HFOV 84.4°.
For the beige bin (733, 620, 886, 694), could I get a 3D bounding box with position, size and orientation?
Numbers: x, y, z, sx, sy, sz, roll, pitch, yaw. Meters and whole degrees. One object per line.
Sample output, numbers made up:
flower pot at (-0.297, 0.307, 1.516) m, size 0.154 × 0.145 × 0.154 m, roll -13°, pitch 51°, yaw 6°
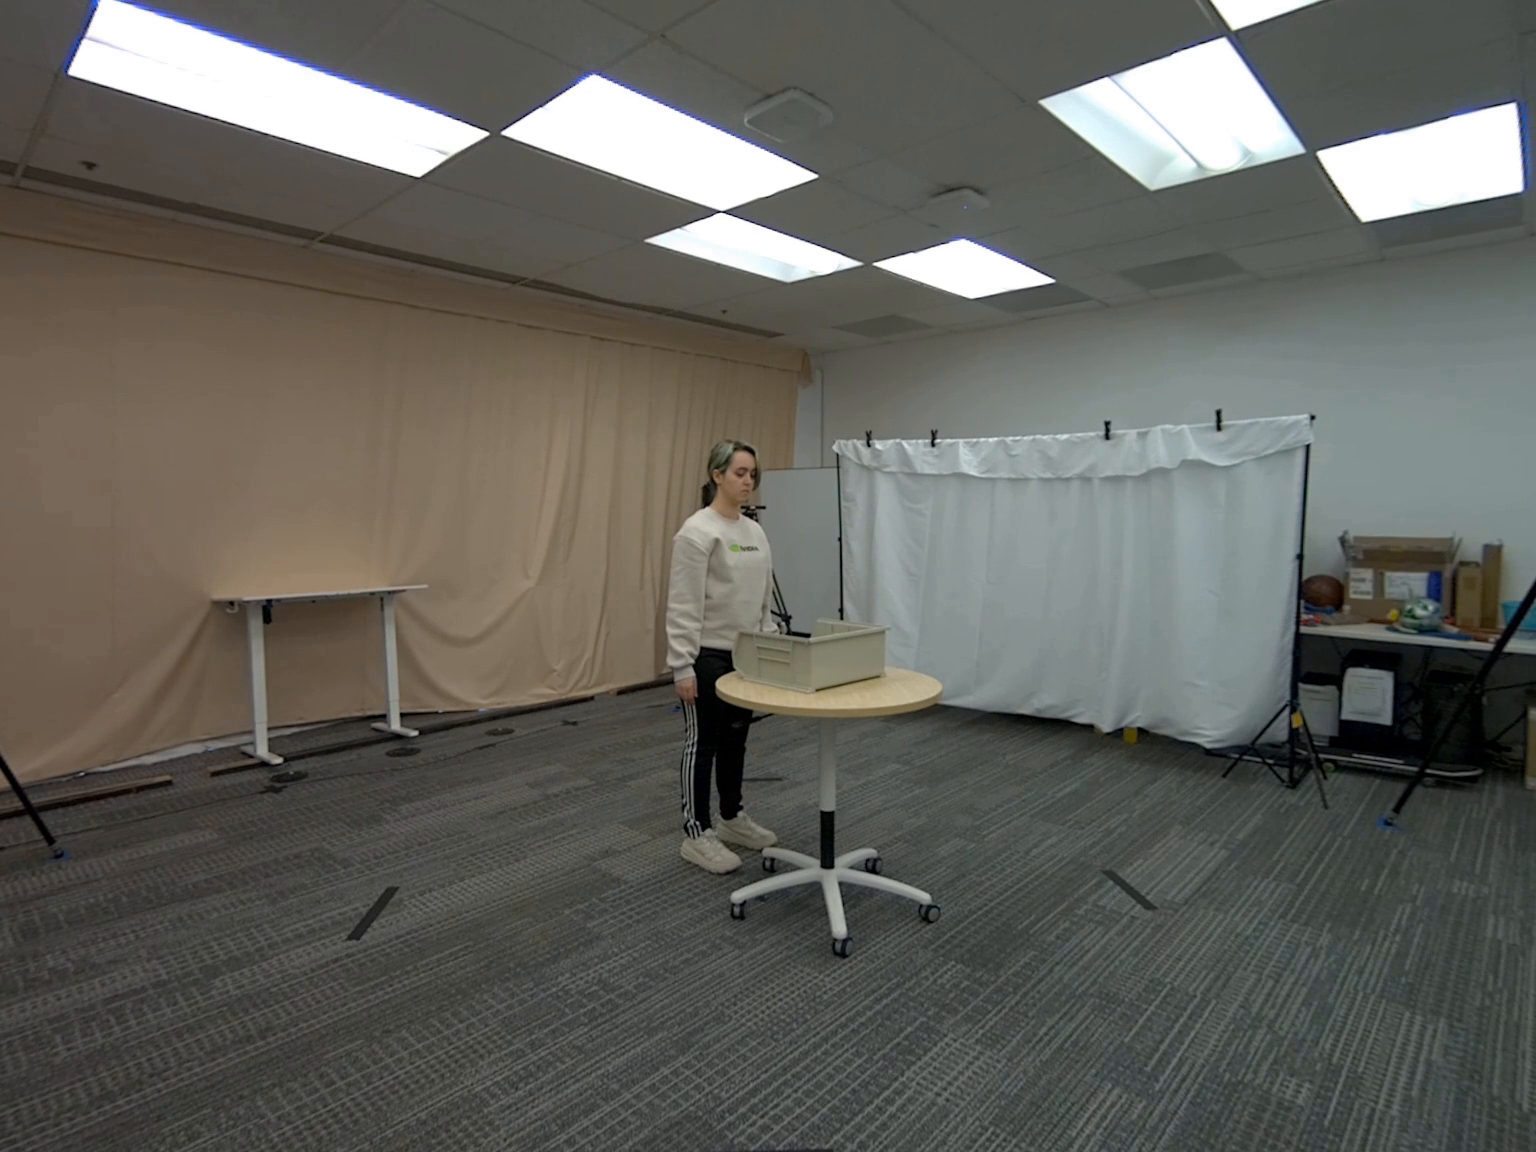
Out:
beige bin at (0.155, 0.272, 2.973) m, size 0.409 × 0.188 × 0.390 m, roll -4°, pitch 6°, yaw -43°
